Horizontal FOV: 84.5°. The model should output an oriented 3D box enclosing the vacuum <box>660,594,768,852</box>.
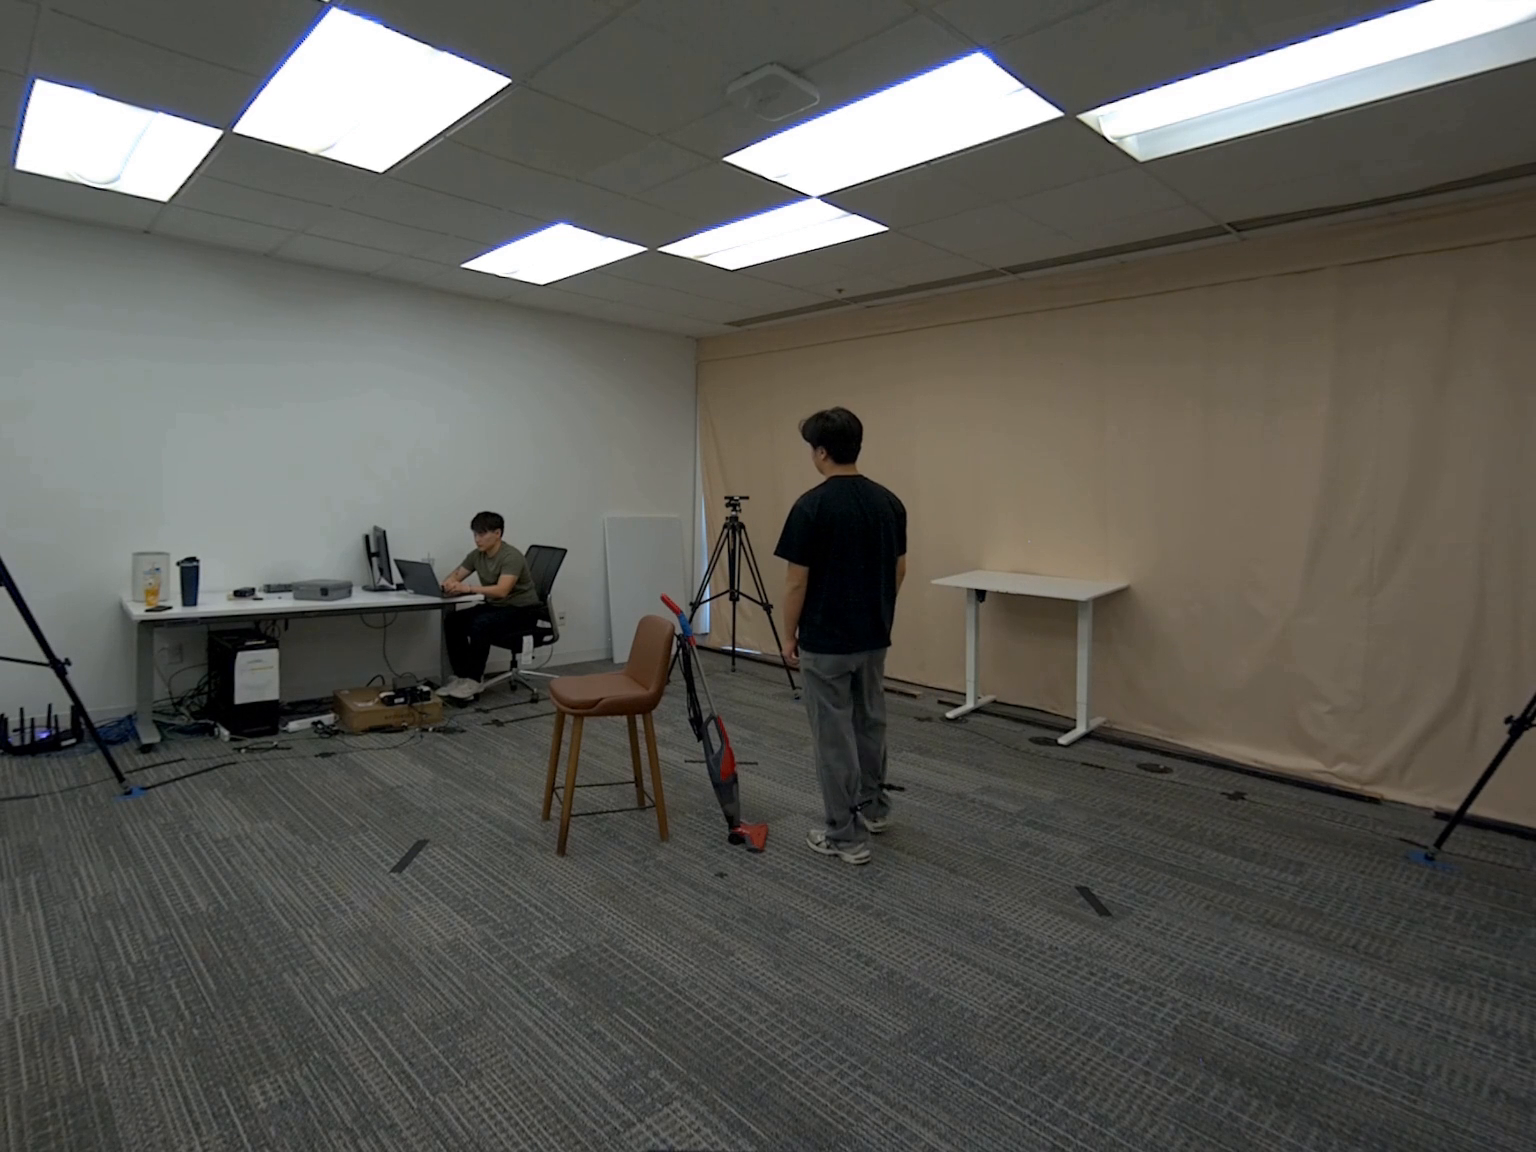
[{"bbox_3d":[-0.261,0.570,3.447,0.144,1.051,0.251,-20,-2,5],"label":"vacuum"}]
